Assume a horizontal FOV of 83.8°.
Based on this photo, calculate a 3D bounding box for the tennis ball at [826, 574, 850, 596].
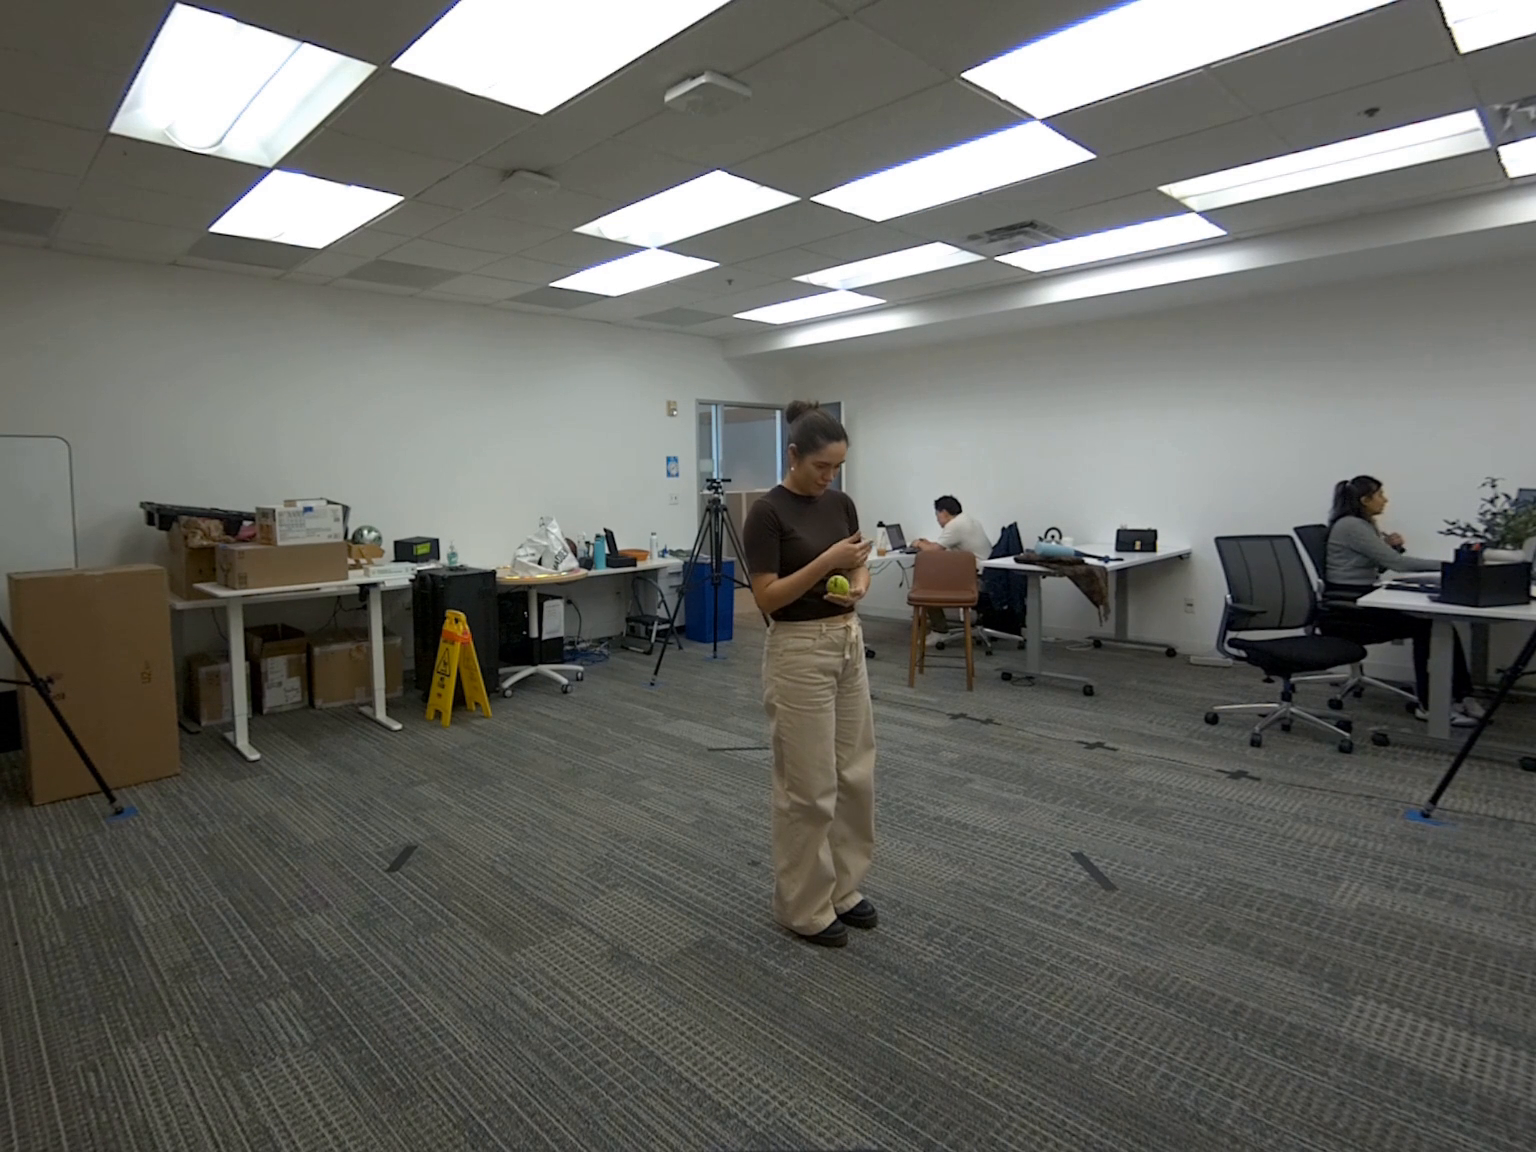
[{"bbox_3d":[0.192,0.027,2.530,0.066,0.066,0.067,-1,5,-2],"label":"tennis ball"}]
